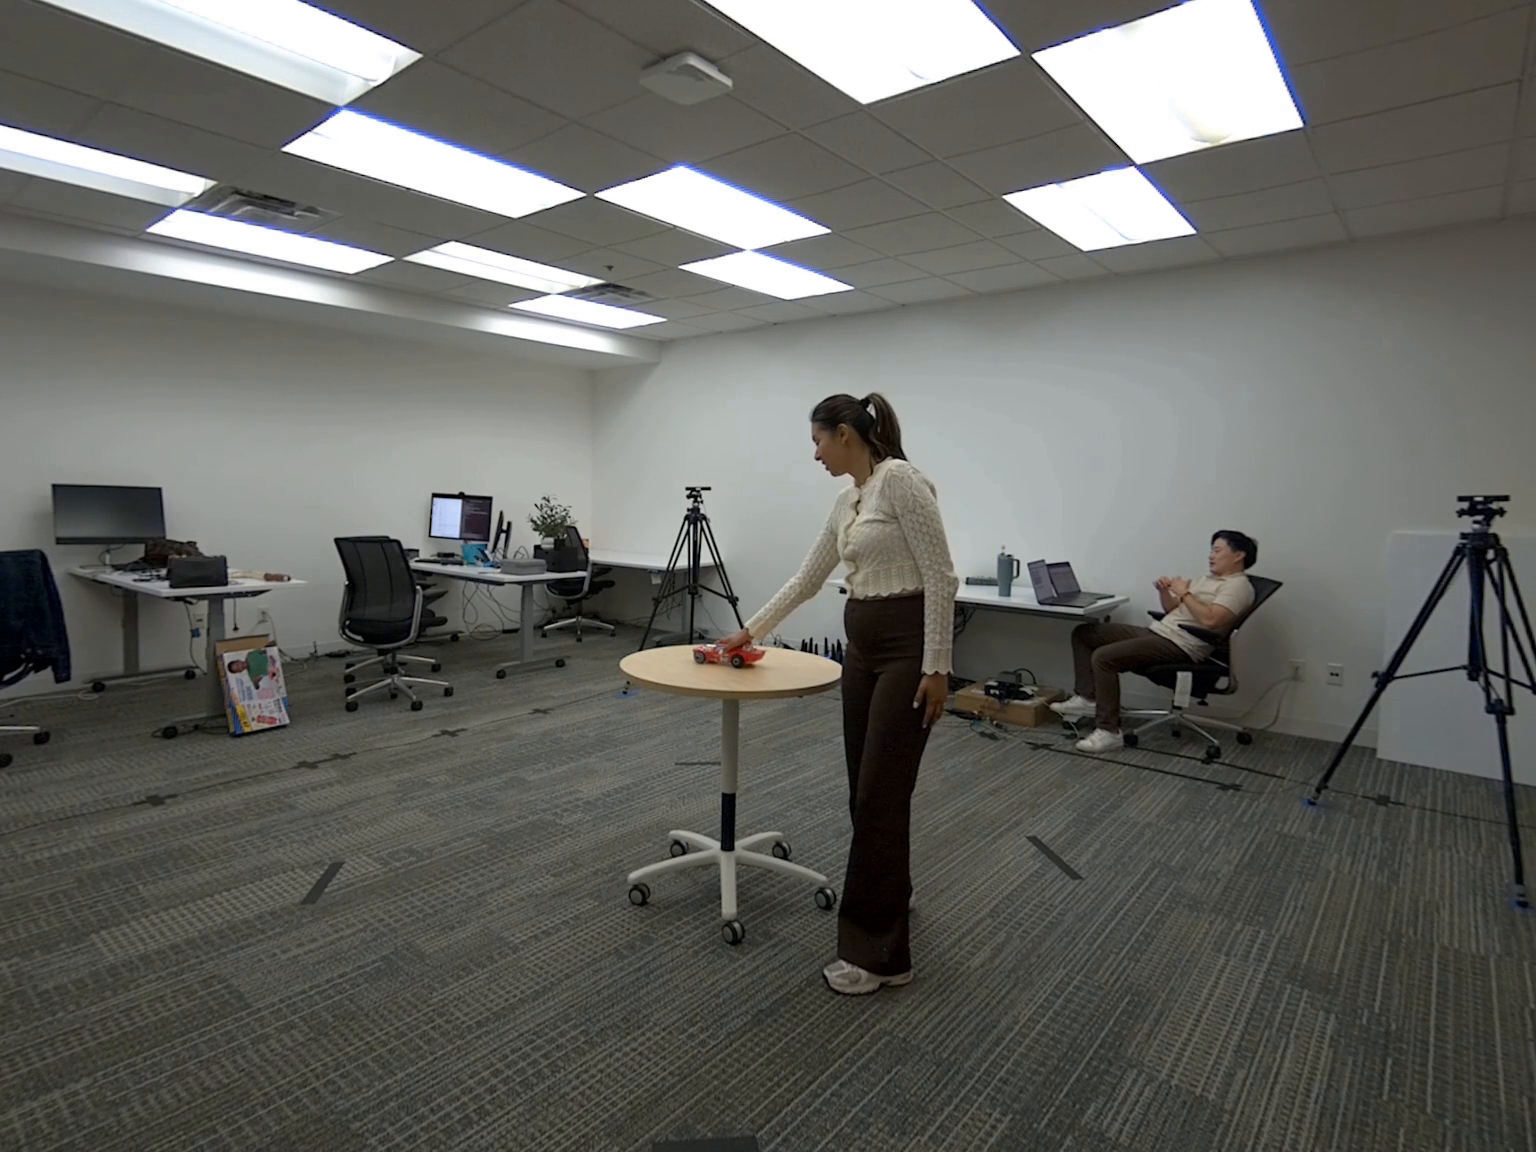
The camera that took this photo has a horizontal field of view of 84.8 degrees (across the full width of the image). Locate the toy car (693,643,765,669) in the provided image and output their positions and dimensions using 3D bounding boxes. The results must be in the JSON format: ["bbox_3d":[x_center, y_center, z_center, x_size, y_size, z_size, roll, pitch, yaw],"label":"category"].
[{"bbox_3d":[-0.135,0.270,2.922,0.260,0.083,0.127,-8,0,25],"label":"toy car"}]
